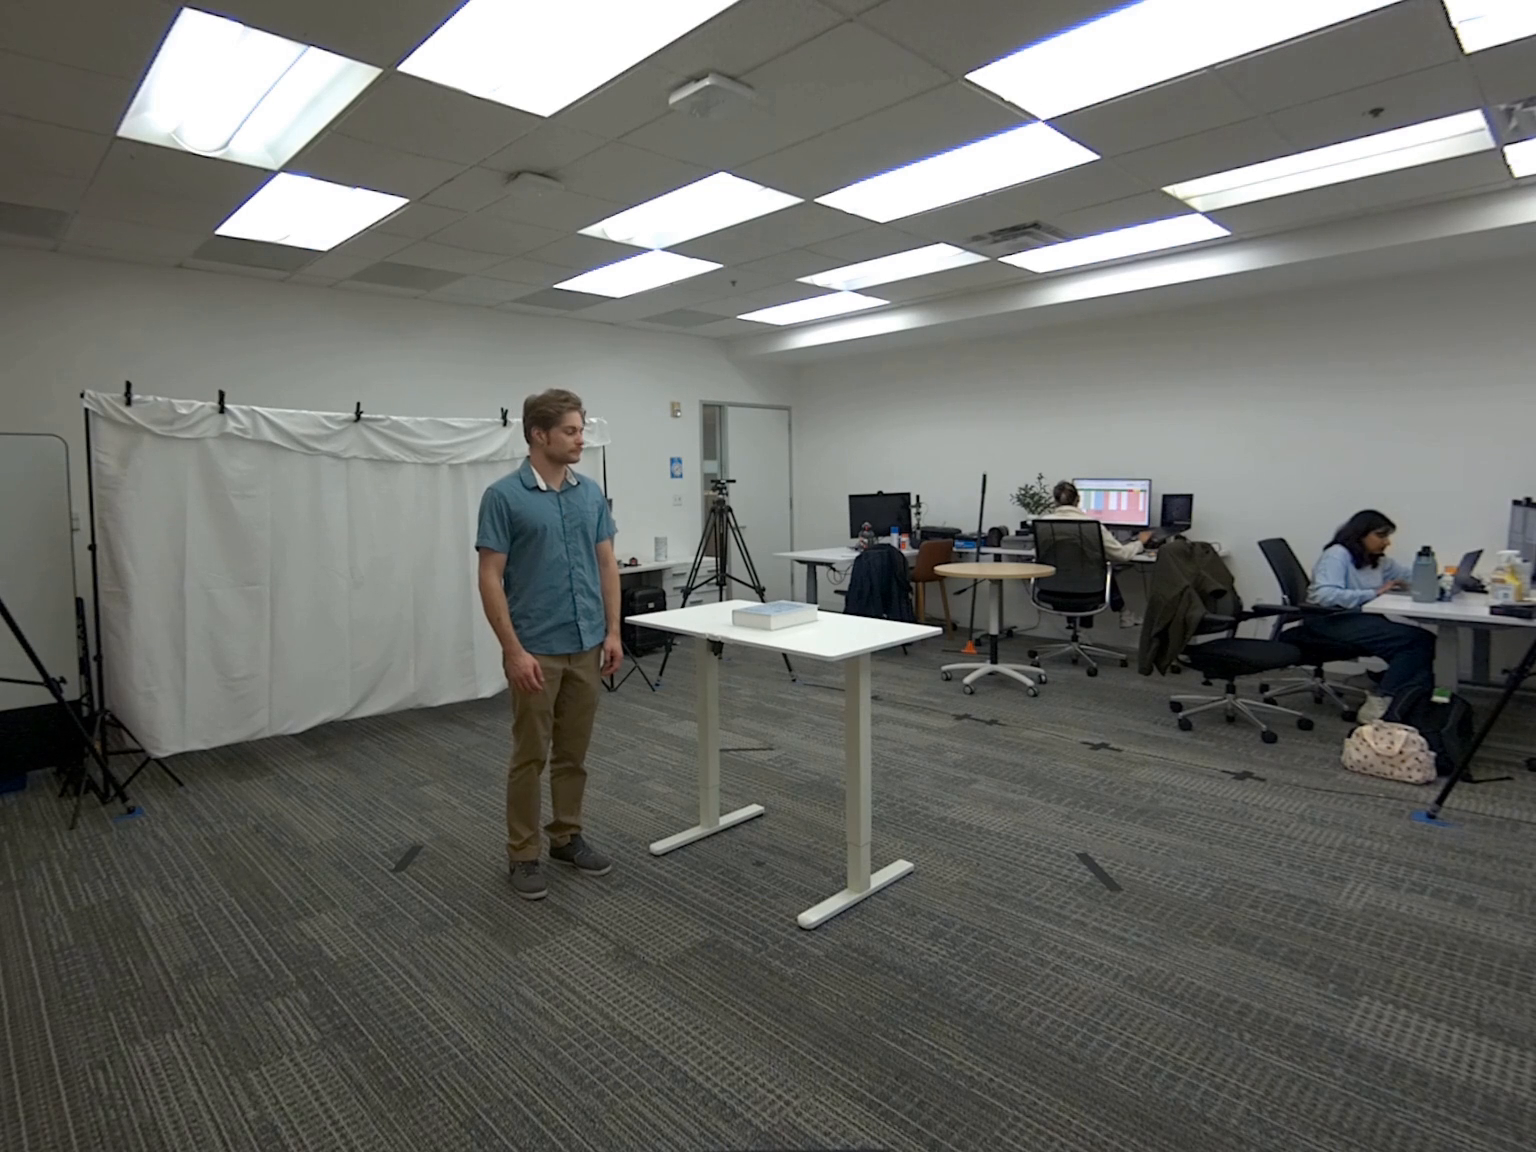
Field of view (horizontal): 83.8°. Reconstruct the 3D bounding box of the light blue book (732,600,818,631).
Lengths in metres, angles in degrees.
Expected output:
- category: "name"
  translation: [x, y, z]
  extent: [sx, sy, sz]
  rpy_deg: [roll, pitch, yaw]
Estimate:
- category: "light blue book"
  translation: [0.030, 0.139, 3.054]
  extent: [0.197, 0.059, 0.254]
  rpy_deg: [4, 8, 43]
